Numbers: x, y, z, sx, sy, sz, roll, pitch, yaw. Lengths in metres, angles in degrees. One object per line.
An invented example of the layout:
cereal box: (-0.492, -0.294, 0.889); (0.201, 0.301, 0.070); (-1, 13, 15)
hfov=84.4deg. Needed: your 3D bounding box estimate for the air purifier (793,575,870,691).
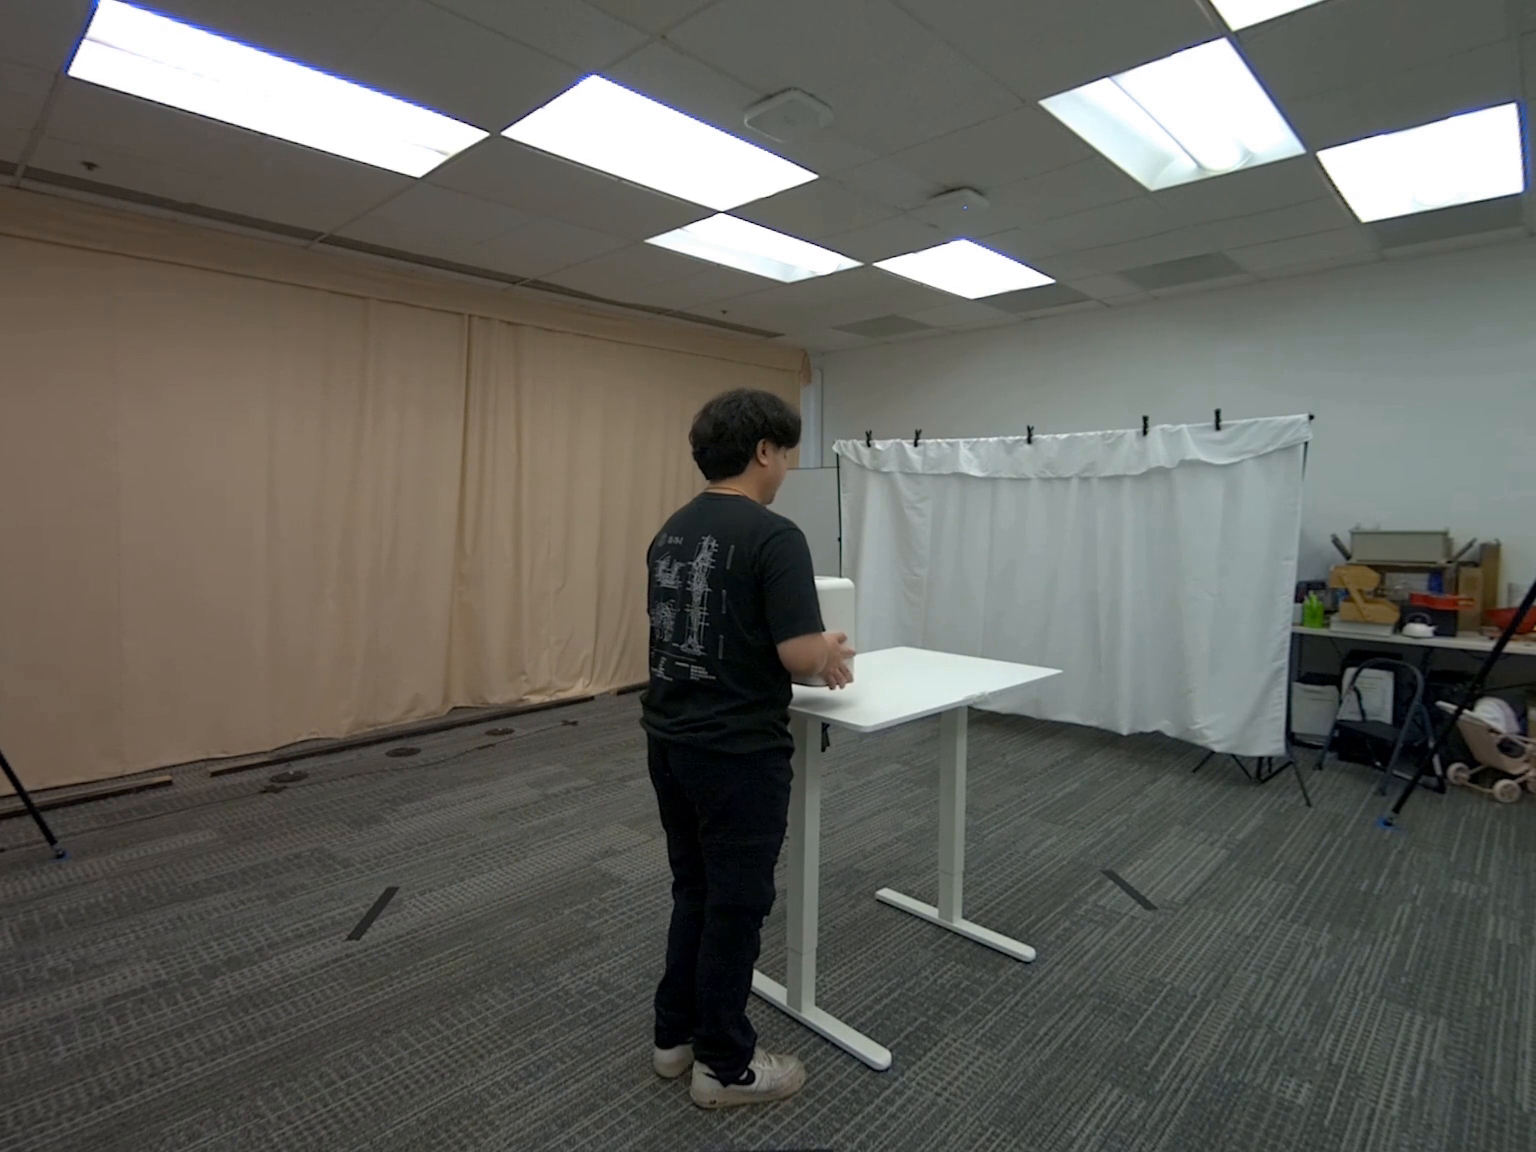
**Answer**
air purifier: (0.132, 0.136, 2.149); (0.166, 0.265, 0.177); (-1, 1, -38)
